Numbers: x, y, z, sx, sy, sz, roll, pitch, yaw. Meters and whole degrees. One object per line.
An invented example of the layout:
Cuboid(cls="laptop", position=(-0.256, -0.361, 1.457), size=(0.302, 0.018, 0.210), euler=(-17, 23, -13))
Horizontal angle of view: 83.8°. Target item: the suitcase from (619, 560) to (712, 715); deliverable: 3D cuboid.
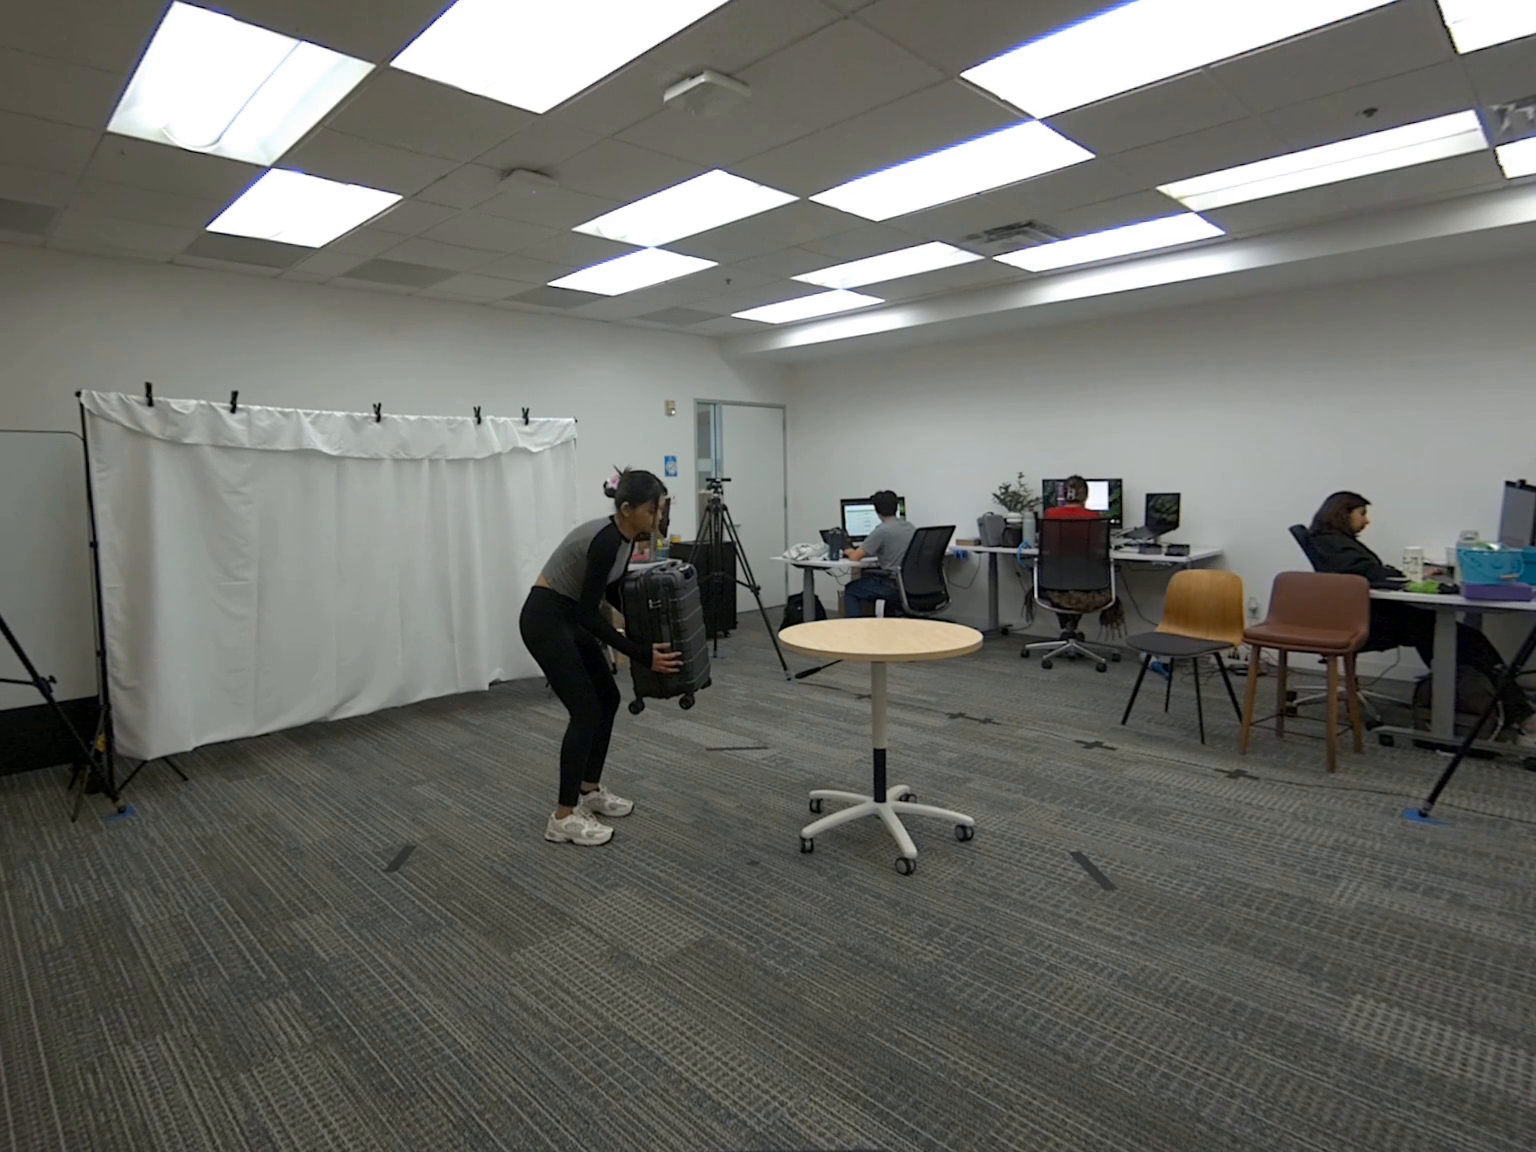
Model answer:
Cuboid(cls="suitcase", position=(-0.408, 0.221, 3.417), size=(0.251, 0.547, 0.374), euler=(-4, 6, 10))
